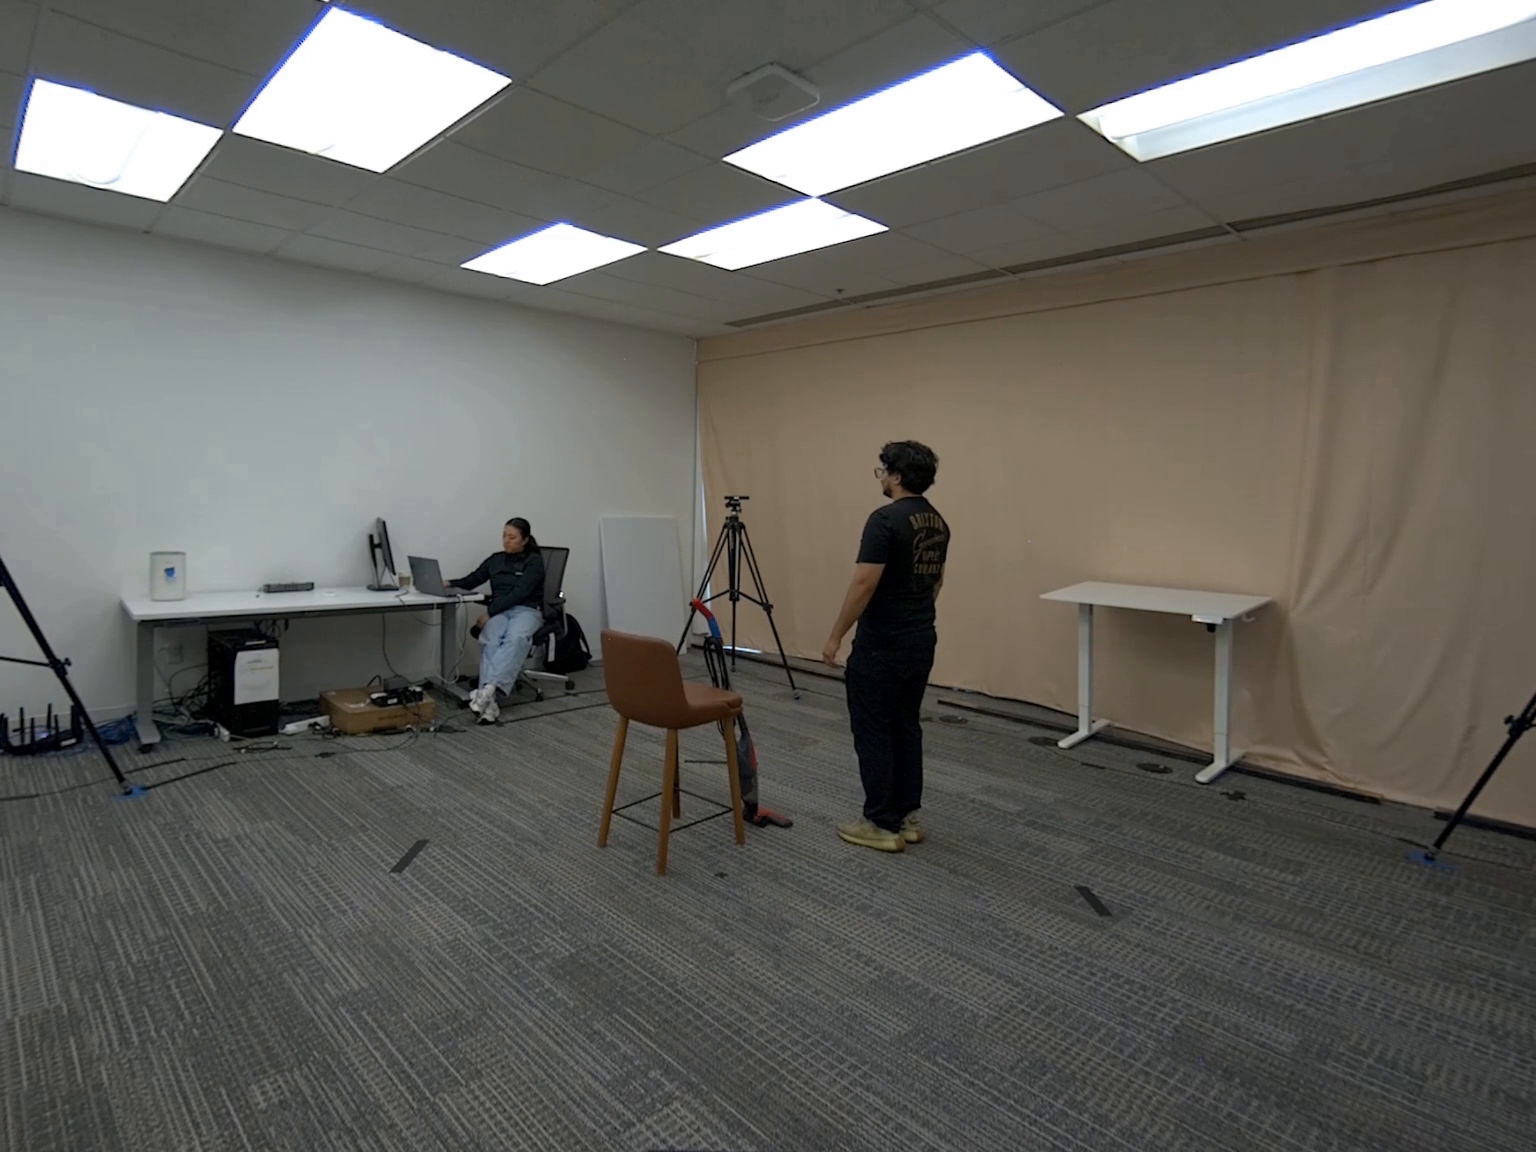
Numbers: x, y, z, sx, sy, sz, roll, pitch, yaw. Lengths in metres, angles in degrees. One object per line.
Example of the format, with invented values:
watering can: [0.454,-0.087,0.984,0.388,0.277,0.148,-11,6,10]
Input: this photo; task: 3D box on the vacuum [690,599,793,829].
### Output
vacuum: [-0.150,0.576,3.512,0.142,1.033,0.259,-26,21,-34]
